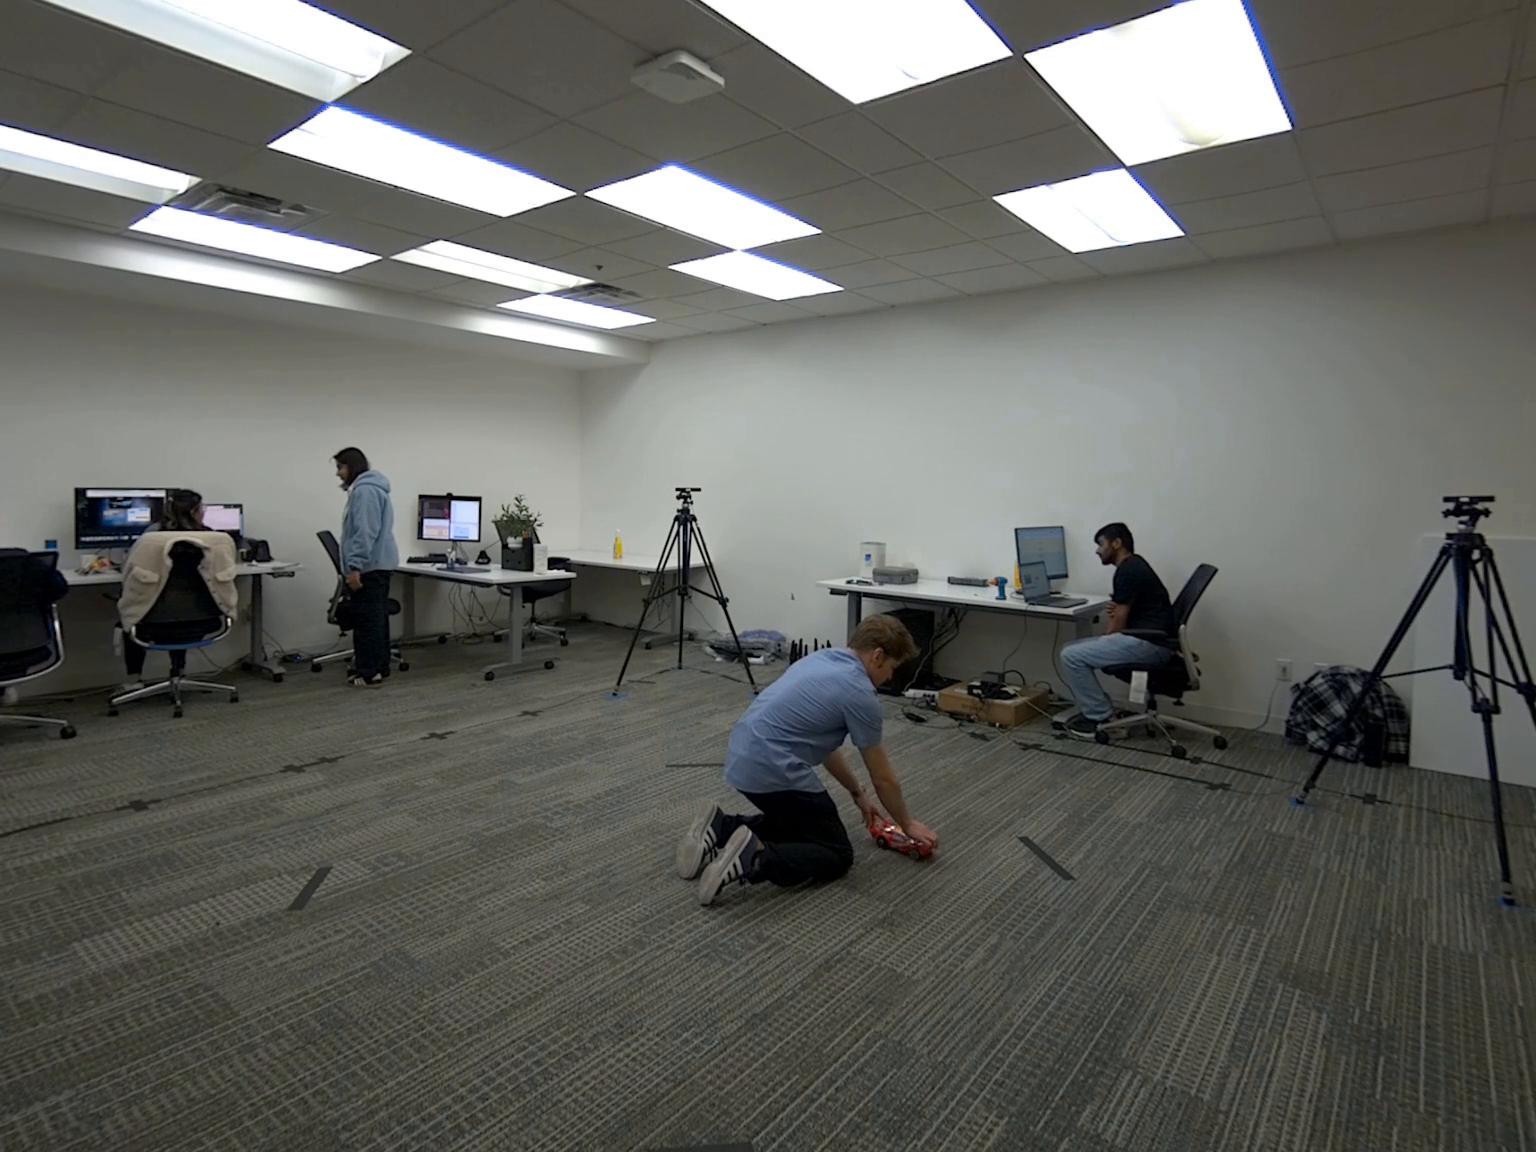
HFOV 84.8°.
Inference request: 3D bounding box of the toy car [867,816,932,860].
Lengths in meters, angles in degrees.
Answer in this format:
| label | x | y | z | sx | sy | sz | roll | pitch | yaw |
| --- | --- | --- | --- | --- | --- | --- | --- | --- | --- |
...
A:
| label | x | y | z | sx | sy | sz | roll | pitch | yaw |
| --- | --- | --- | --- | --- | --- | --- | --- | --- | --- |
| toy car | 0.511 | 1.035 | 3.322 | 0.265 | 0.082 | 0.126 | 21 | 14 | 40 |
